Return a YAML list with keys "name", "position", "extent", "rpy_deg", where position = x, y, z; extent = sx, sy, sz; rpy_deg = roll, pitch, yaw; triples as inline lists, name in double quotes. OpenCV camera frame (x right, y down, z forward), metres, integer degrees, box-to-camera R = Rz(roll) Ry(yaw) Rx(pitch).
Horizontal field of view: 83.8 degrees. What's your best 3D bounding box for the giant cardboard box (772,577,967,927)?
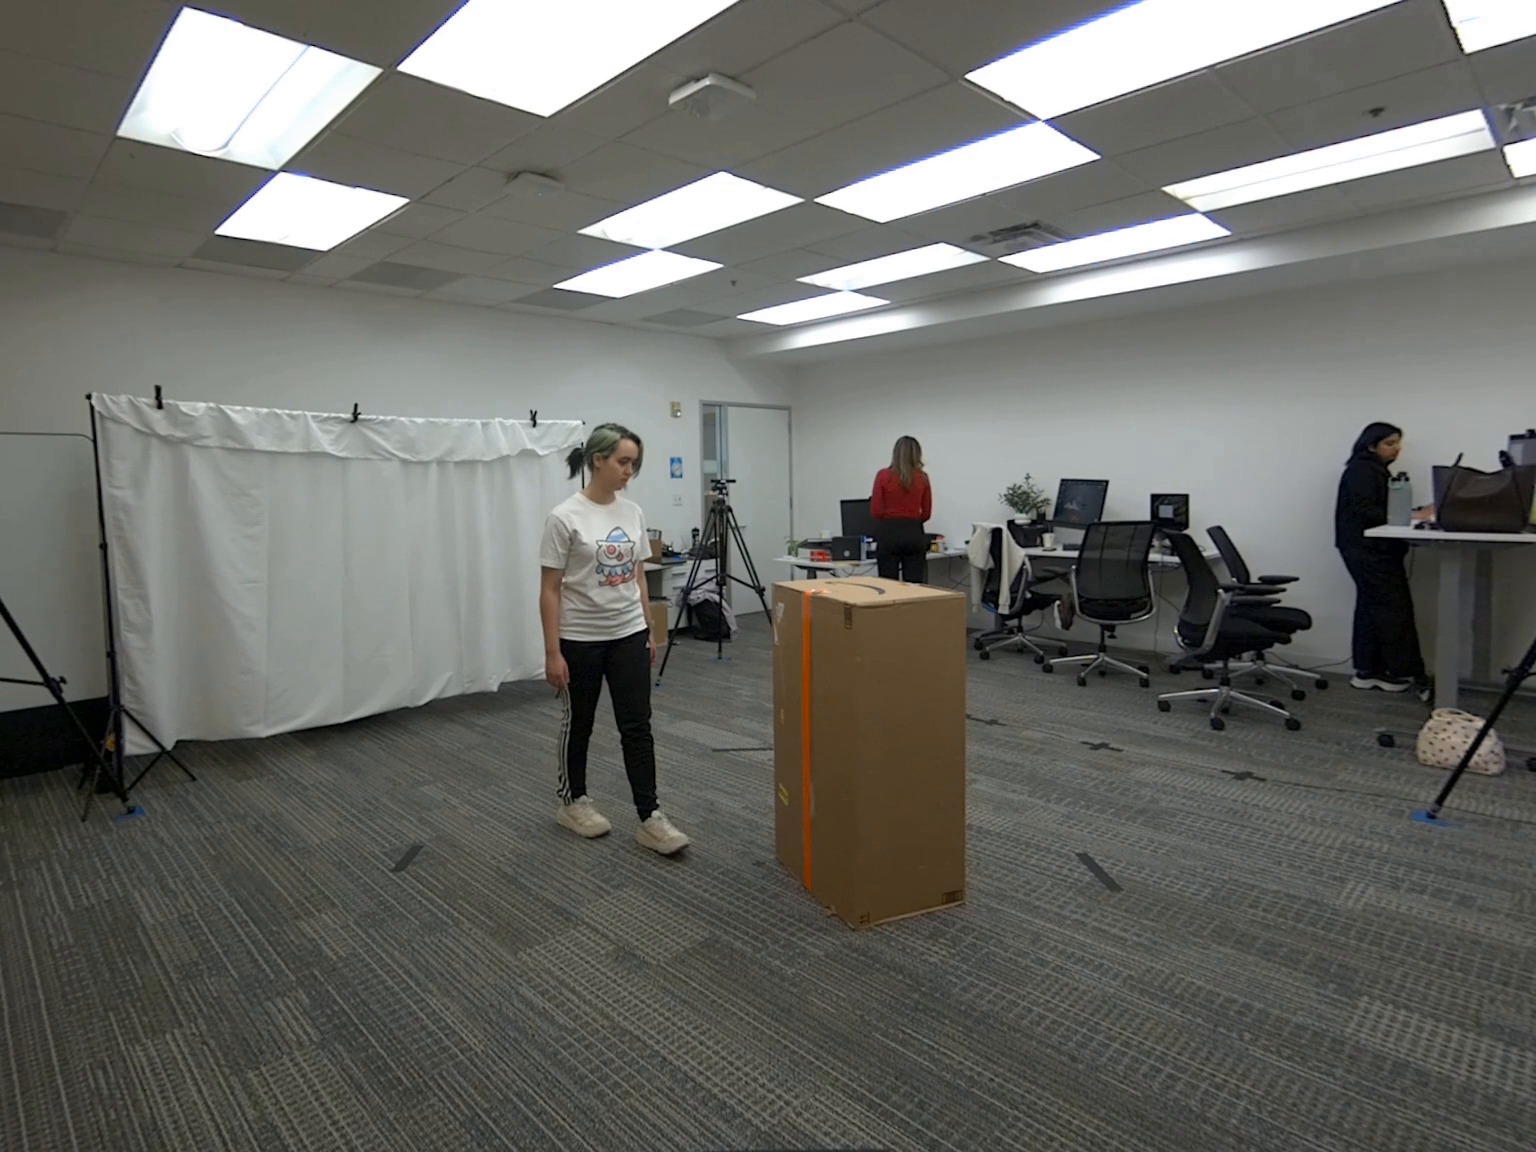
- name: "giant cardboard box"
  position: [0.333, 0.552, 2.937]
  extent: [0.437, 1.023, 0.598]
  rpy_deg: [-2, 5, -25]
